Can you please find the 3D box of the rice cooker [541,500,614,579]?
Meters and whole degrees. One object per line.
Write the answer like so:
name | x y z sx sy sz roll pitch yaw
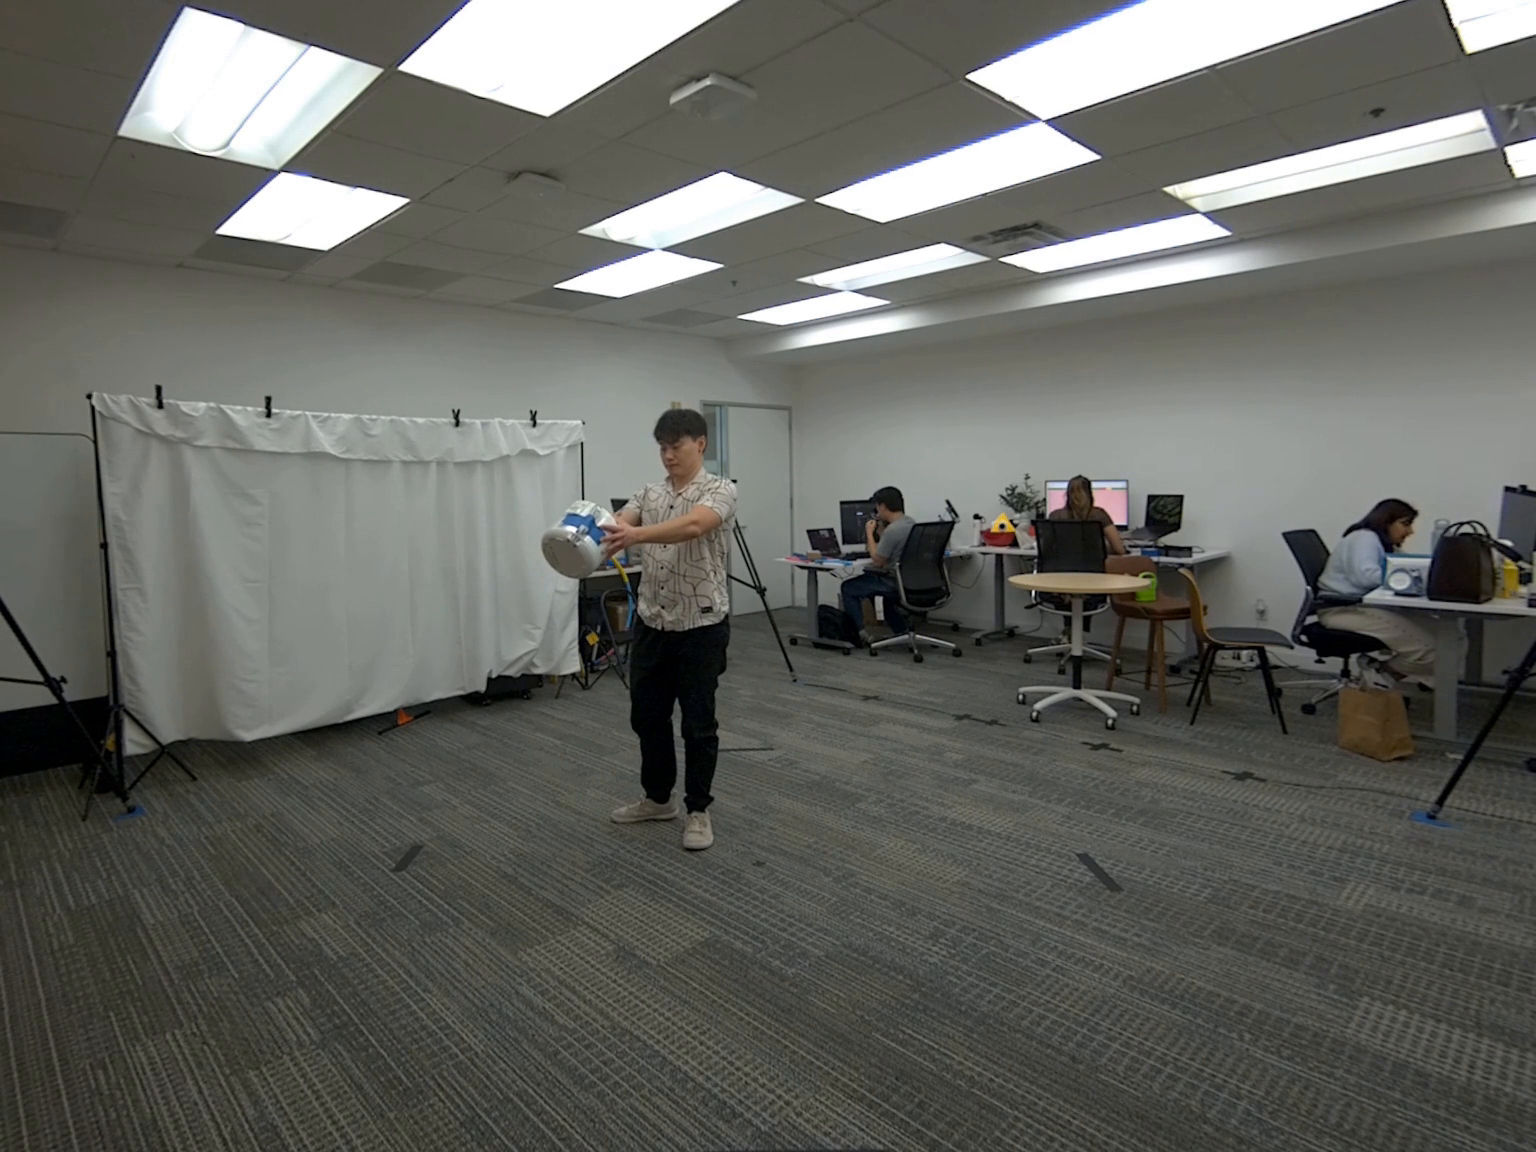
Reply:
rice cooker | -0.632 -0.124 2.883 0.223 0.214 0.234 0 35 30
